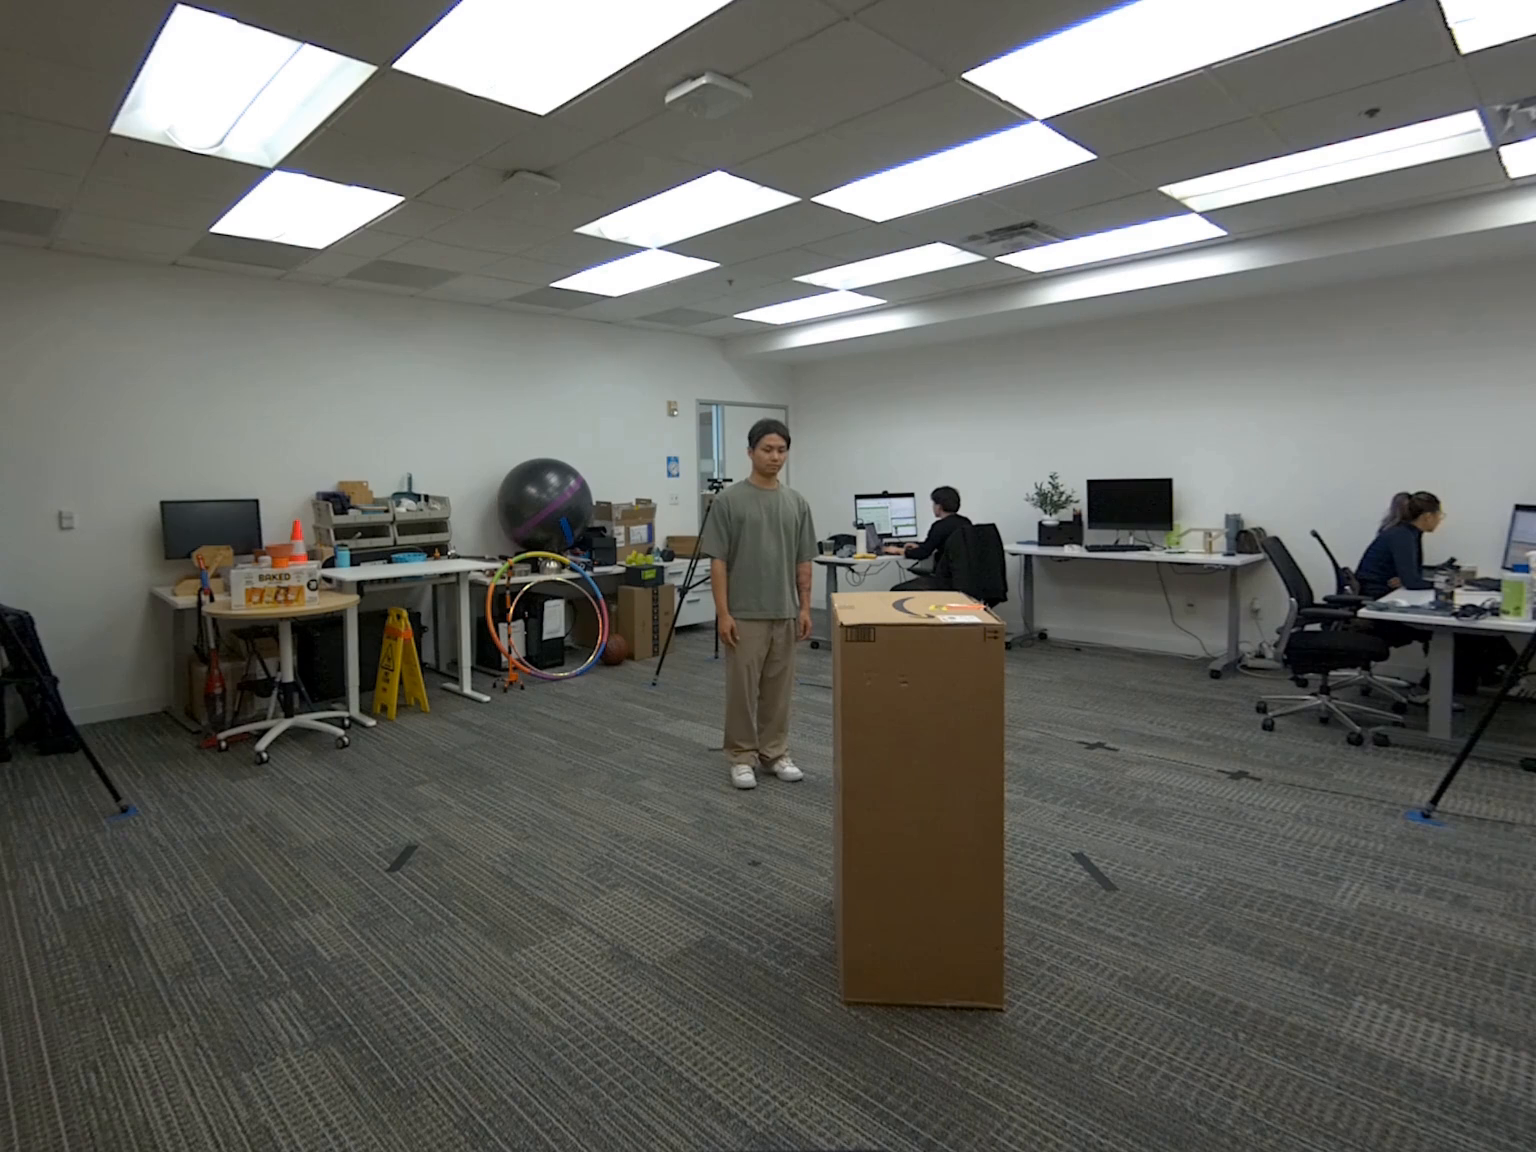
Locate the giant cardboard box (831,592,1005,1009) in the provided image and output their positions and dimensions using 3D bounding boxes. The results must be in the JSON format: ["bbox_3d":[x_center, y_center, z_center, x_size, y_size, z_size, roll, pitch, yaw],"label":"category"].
[{"bbox_3d":[0.417,0.598,2.495,0.428,1.022,0.577,-1,4,4],"label":"giant cardboard box"}]
